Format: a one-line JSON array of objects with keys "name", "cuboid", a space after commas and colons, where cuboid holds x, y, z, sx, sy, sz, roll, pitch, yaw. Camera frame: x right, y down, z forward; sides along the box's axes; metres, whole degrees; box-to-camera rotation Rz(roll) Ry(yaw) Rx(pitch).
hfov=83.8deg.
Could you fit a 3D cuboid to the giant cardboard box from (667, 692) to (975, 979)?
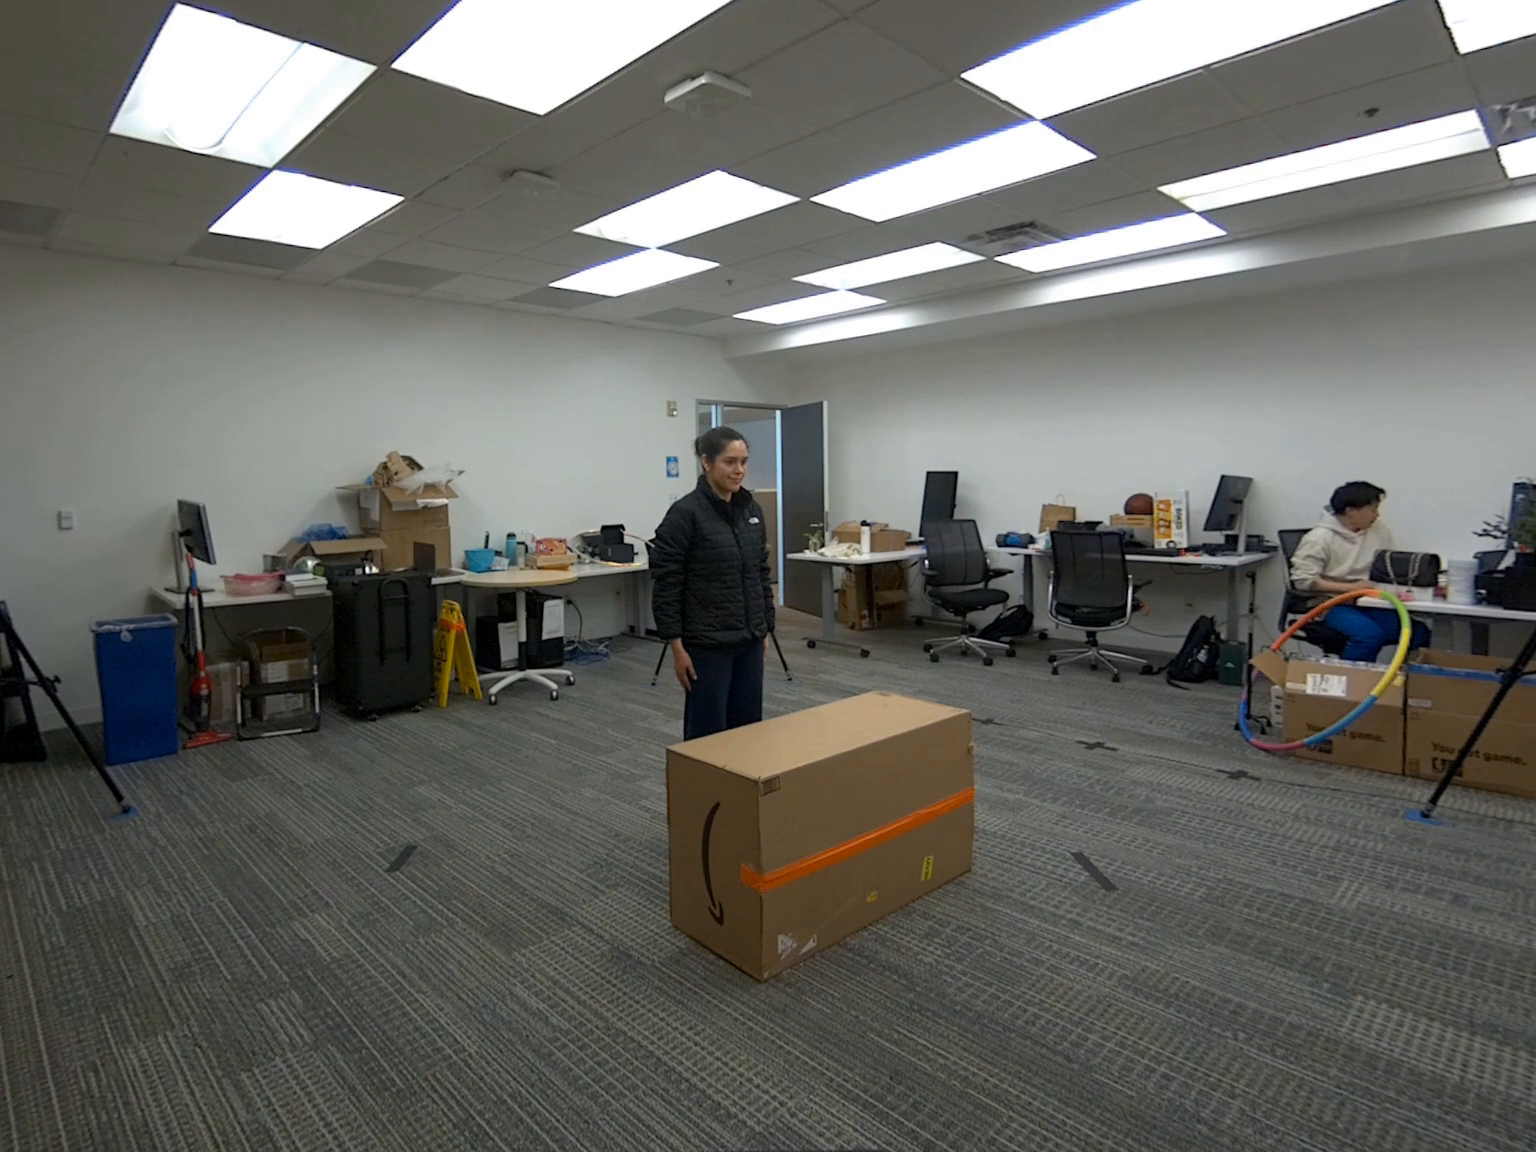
[{"name": "giant cardboard box", "cuboid": [0.208, 0.785, 2.841, 1.000, 0.582, 0.460, -6, 6, -41]}]
